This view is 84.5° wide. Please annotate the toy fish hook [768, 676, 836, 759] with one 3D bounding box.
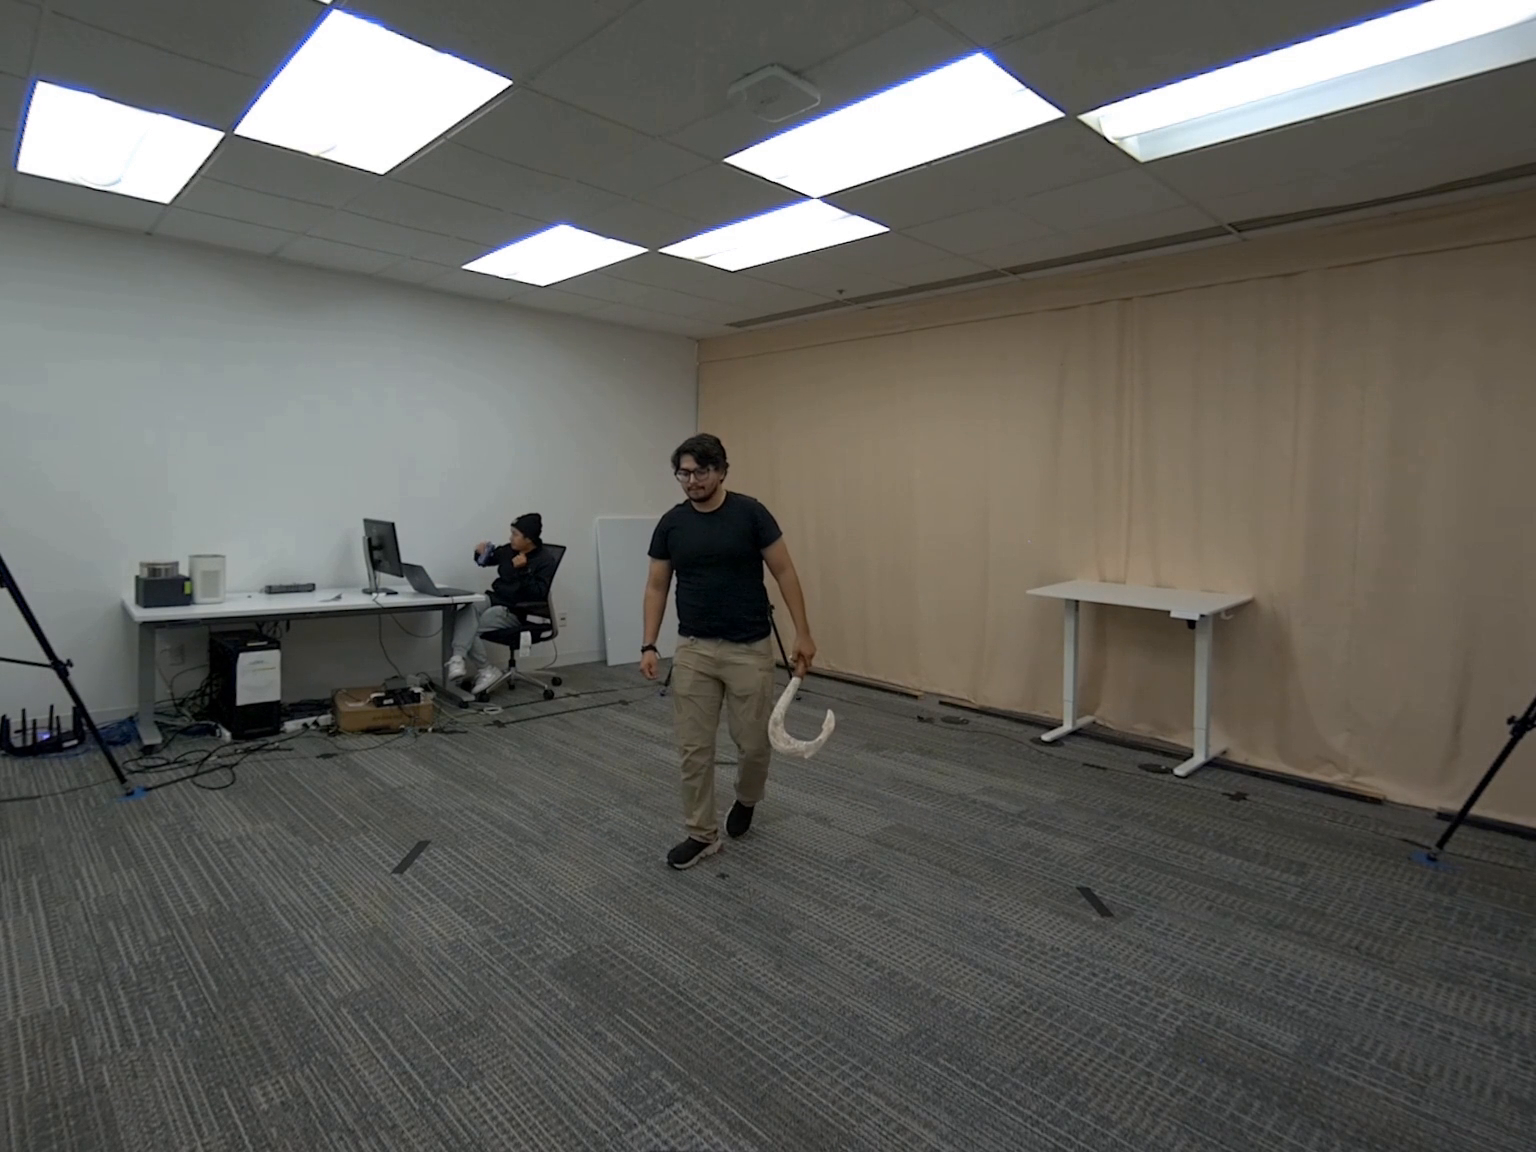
[{"bbox_3d":[0.136,0.429,3.063,0.226,0.515,0.047,5,-38,7],"label":"toy fish hook"}]
